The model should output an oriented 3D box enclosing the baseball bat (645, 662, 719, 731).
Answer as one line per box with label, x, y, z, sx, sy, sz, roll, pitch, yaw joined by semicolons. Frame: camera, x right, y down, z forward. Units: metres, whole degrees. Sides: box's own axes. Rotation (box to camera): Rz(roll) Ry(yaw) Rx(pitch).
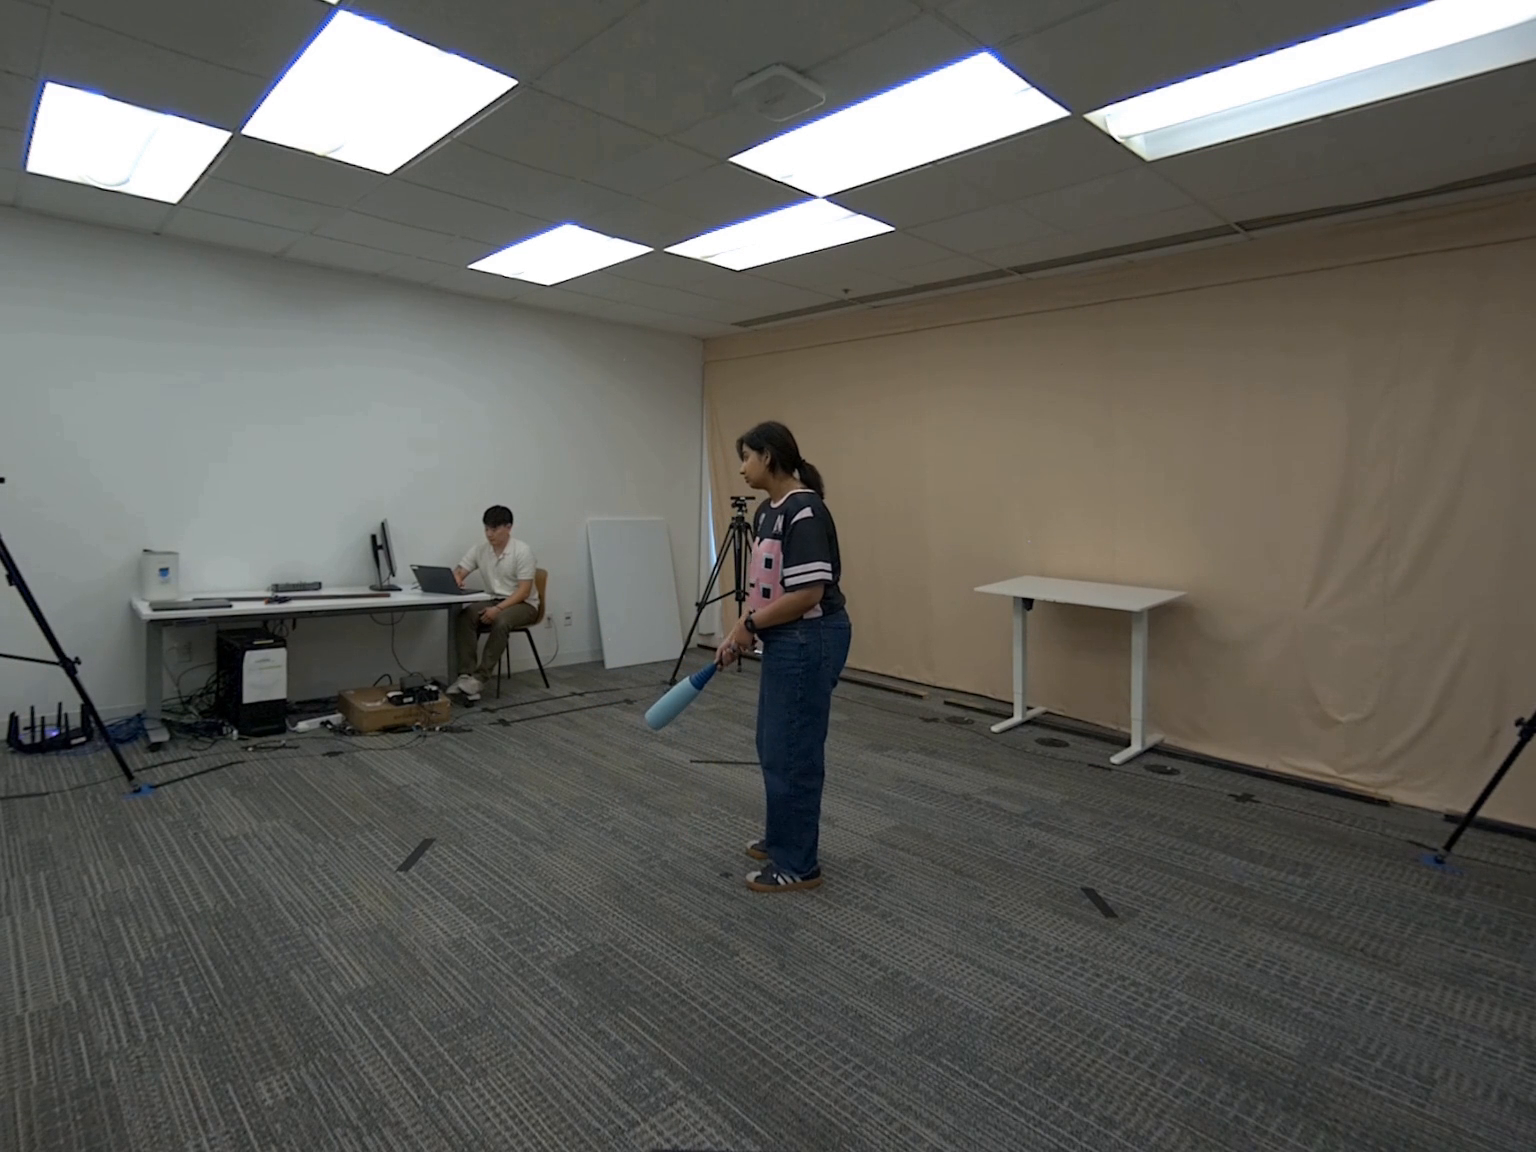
baseball bat;-0.249;0.385;3.099;0.544;0.090;0.088;-41;-12;20
